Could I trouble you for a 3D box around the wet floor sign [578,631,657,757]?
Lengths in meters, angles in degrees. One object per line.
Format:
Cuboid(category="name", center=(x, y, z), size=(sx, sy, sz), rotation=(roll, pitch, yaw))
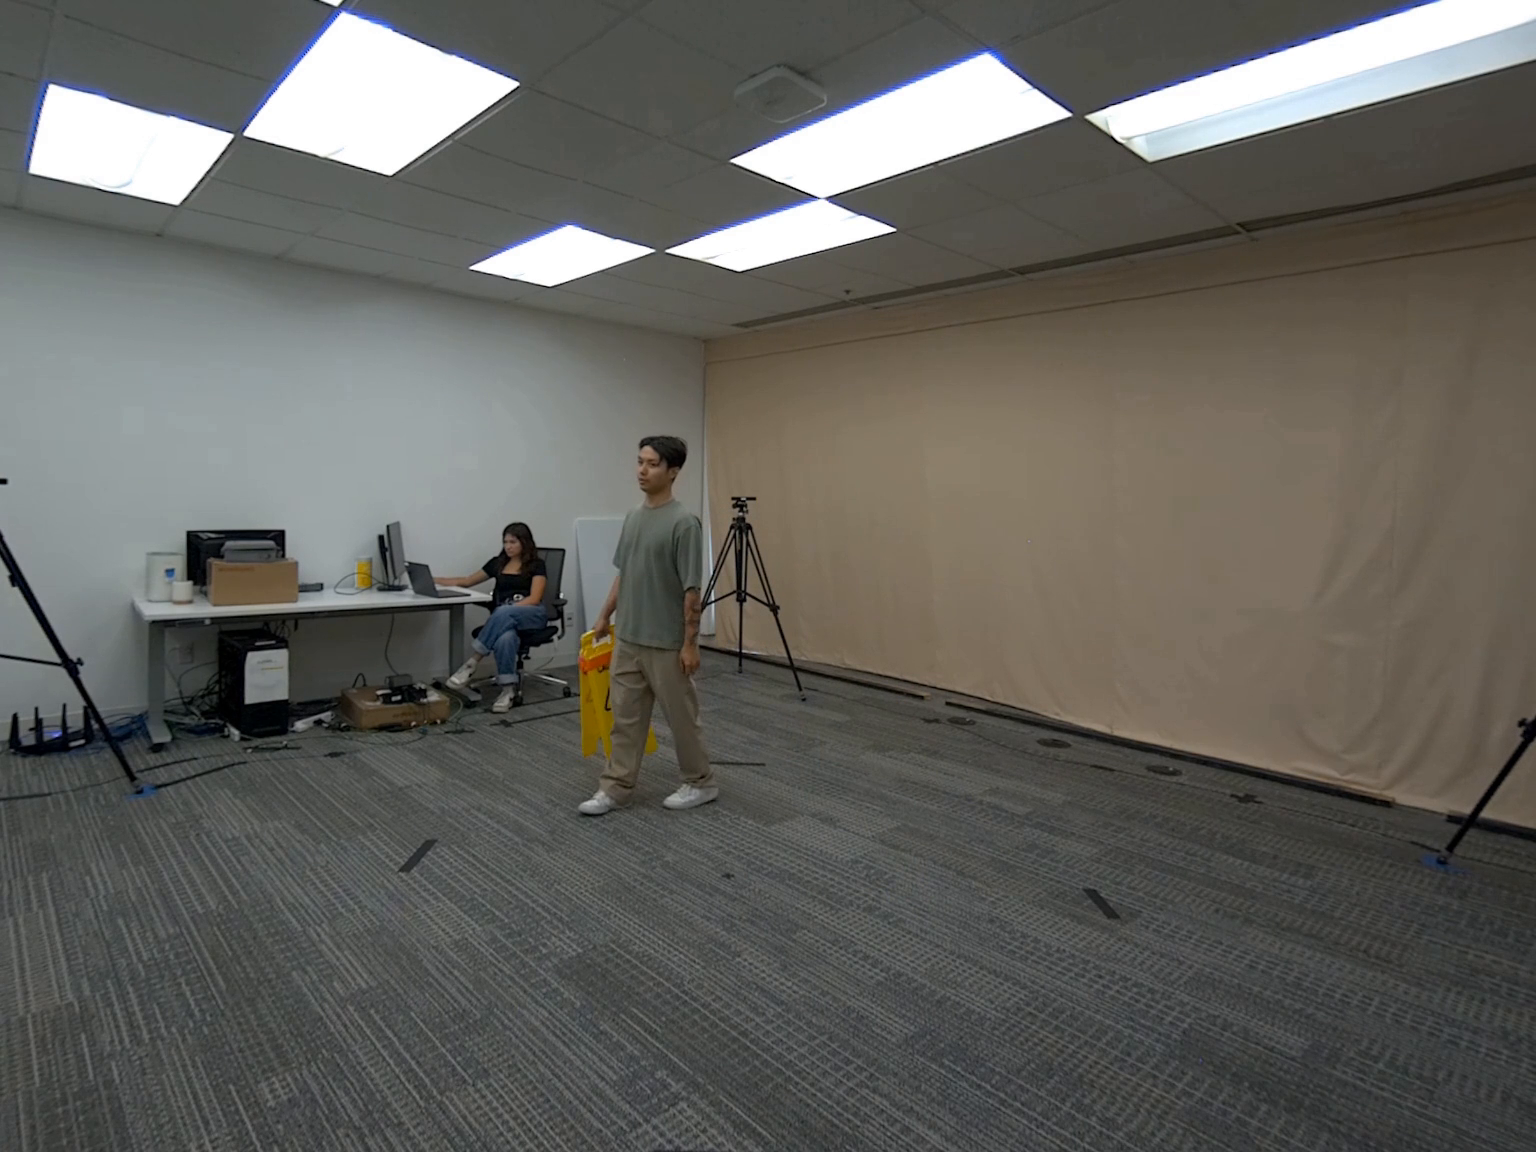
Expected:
Cuboid(category="wet floor sign", center=(-0.753, 0.554, 3.990), size=(0.278, 0.638, 0.298), rotation=(-20, 20, -39))
